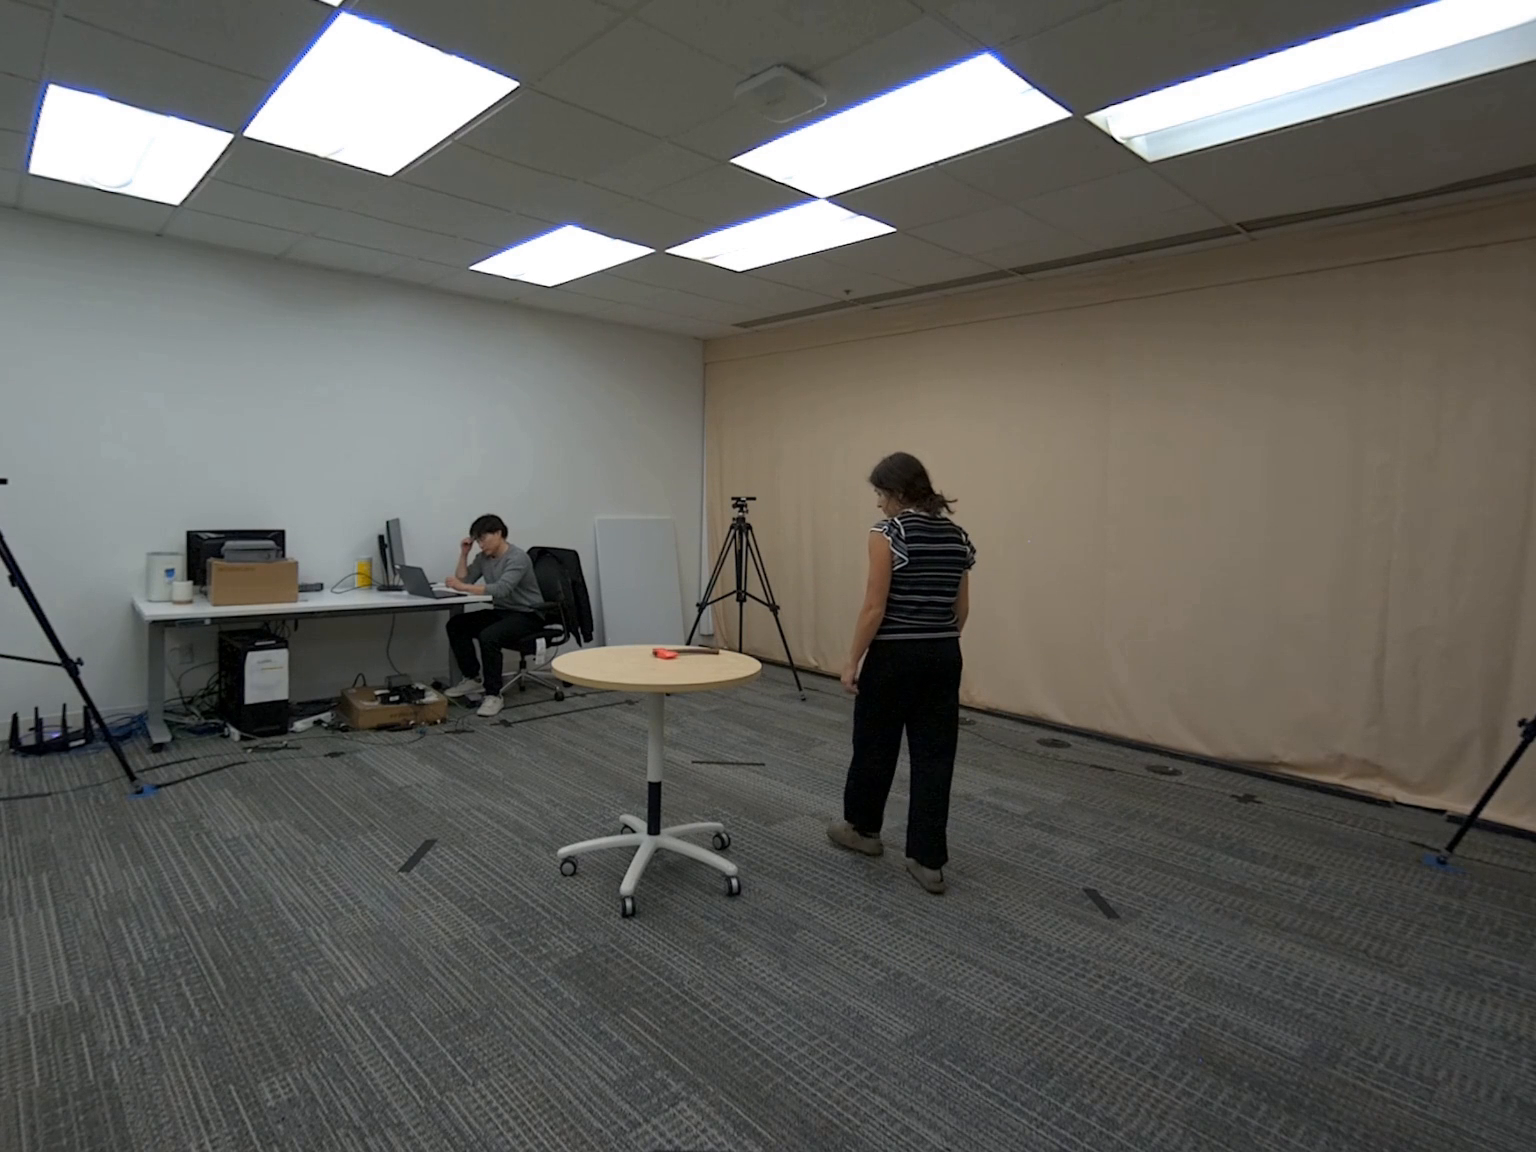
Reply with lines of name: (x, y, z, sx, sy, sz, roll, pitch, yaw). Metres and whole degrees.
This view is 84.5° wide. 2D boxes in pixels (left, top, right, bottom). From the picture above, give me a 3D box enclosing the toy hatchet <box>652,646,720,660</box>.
toy hatchet: (-0.318, 0.298, 3.233, 0.267, 0.029, 0.133, 2, 6, -12)
